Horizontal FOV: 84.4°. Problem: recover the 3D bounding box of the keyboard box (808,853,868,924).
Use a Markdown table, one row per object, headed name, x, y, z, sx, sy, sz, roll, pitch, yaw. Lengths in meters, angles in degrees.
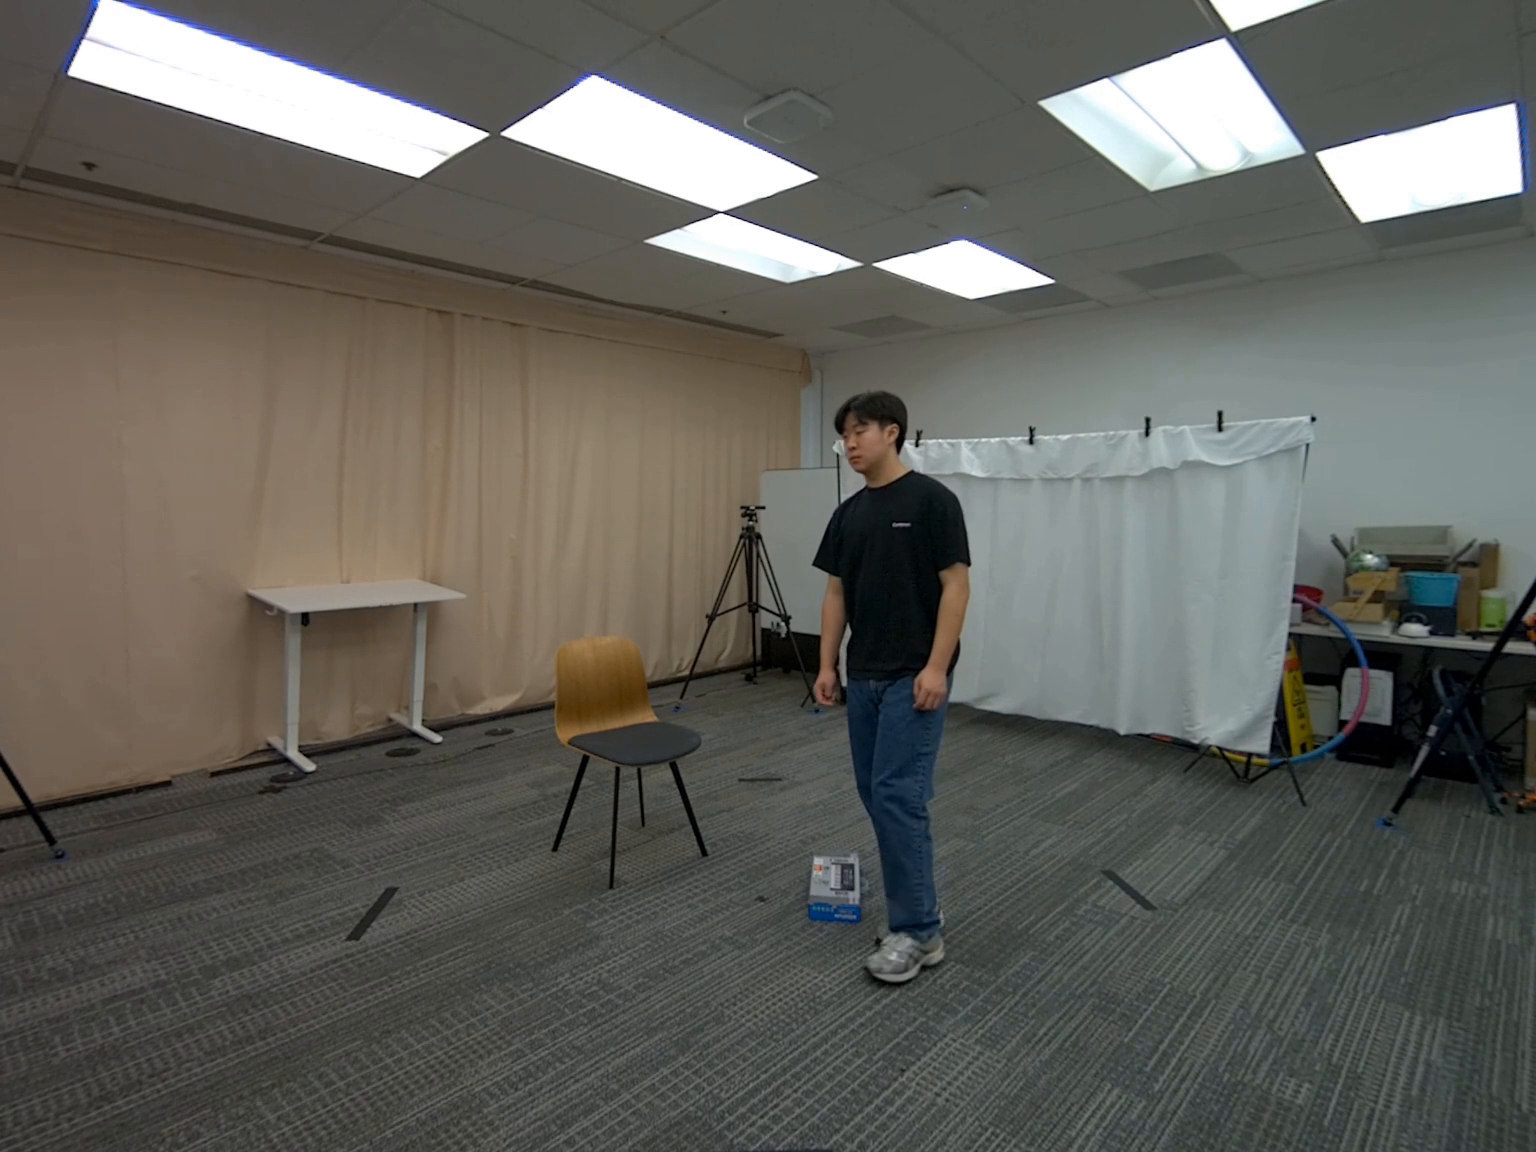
| name | x | y | z | sx | sy | sz | roll | pitch | yaw |
| --- | --- | --- | --- | --- | --- | --- | --- | --- | --- |
| keyboard box | 0.246 | 1.110 | 3.033 | 0.177 | 0.059 | 0.434 | 0 | 5 | 6 |
